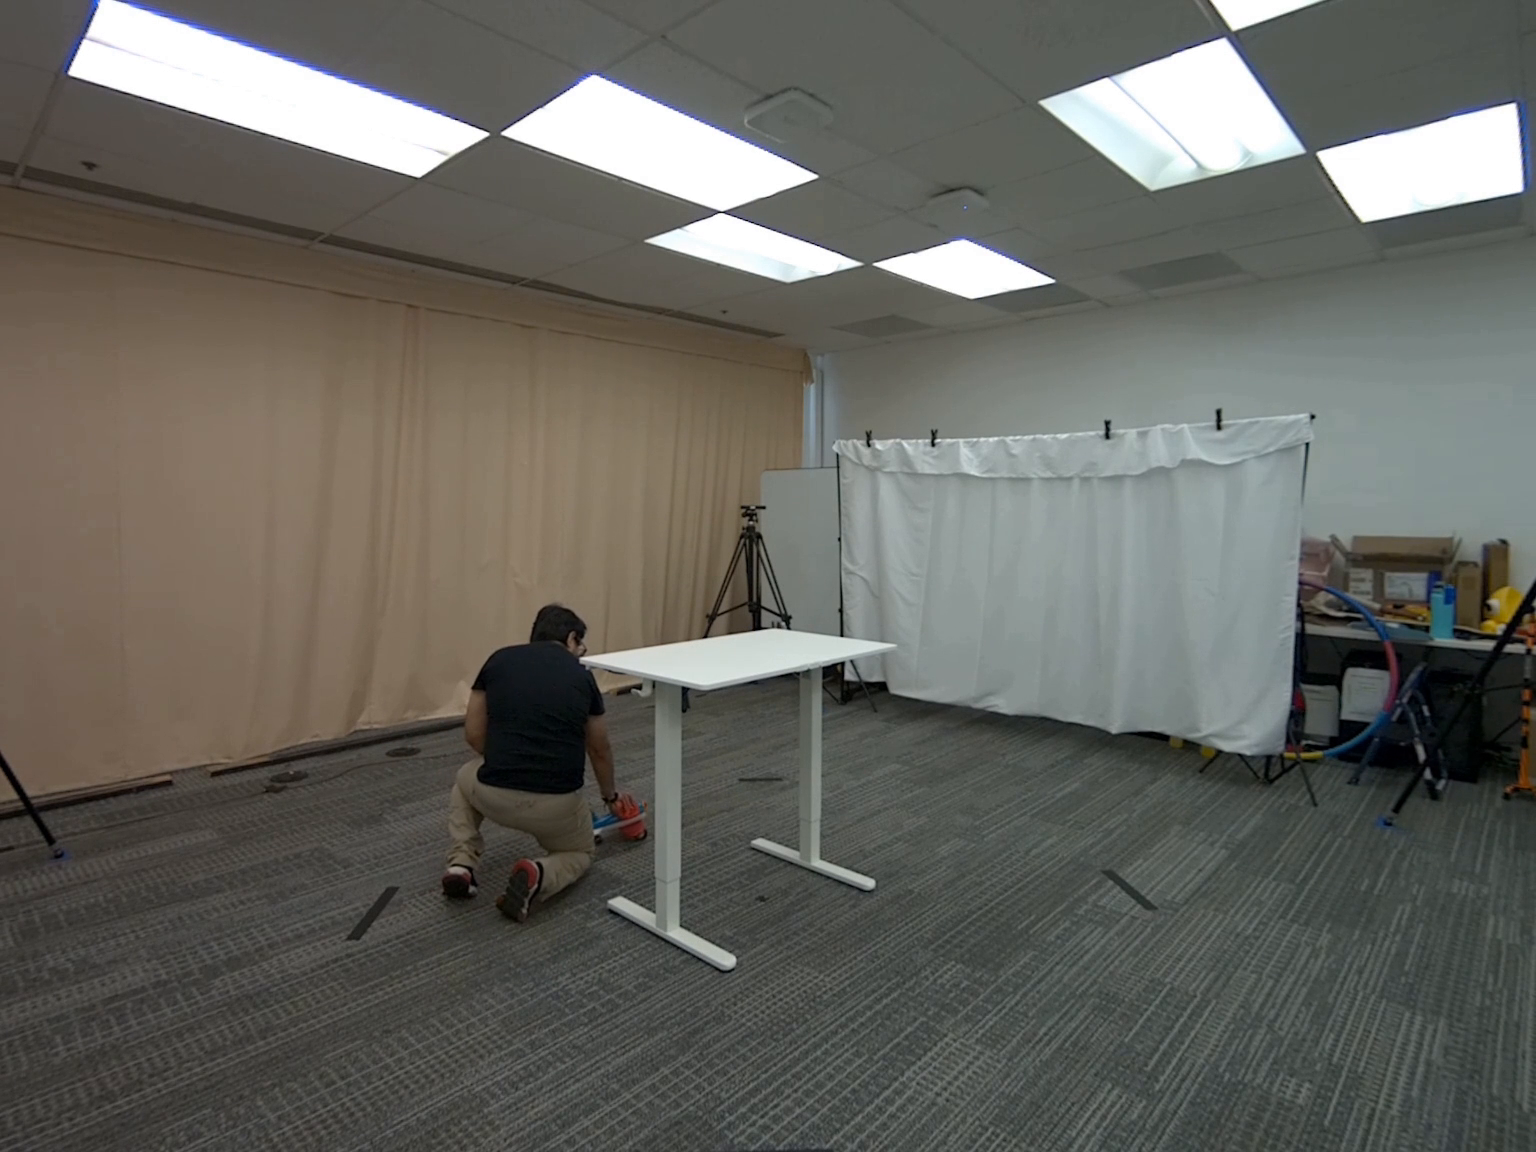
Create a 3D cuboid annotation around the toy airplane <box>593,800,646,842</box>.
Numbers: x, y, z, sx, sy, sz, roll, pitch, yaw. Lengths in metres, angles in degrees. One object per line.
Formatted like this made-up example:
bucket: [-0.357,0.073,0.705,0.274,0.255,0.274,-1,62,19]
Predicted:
toy airplane: [-0.615,1.032,3.520,0.259,0.156,0.251,3,5,41]
